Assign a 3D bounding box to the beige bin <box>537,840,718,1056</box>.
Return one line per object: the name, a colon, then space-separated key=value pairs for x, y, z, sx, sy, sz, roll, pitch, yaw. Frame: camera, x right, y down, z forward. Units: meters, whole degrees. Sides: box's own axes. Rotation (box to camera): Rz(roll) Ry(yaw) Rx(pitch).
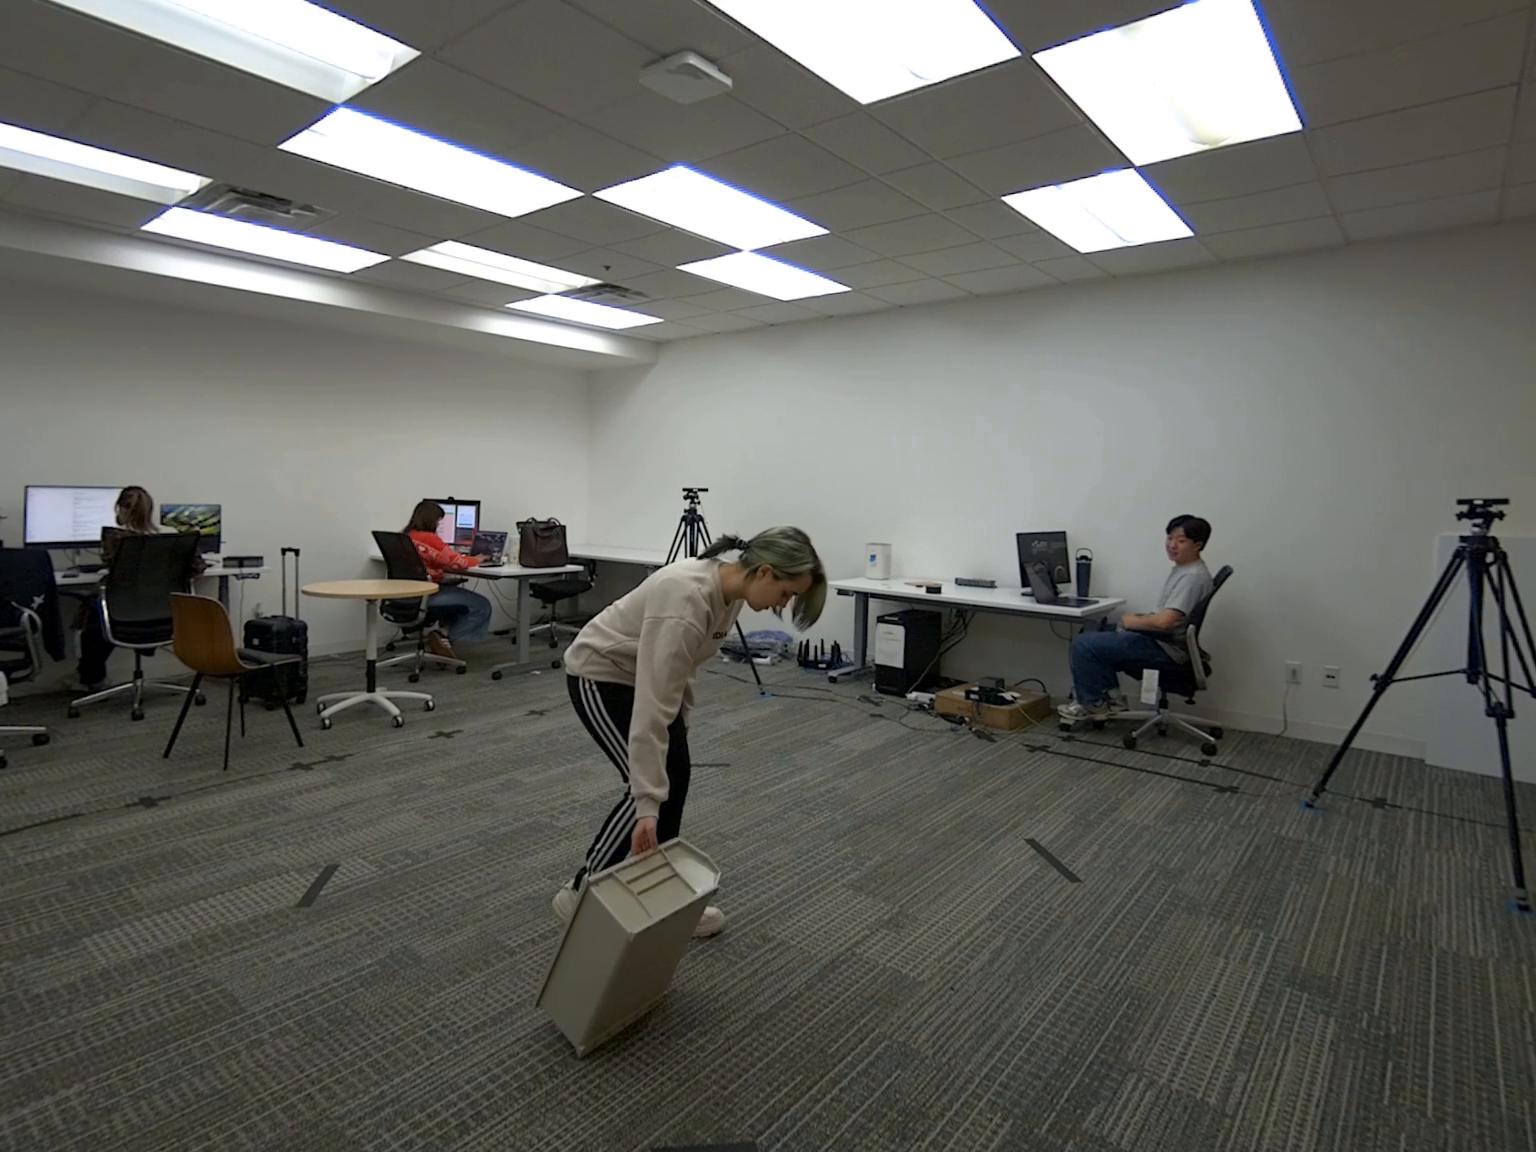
beige bin: x=-0.351 y=0.932 z=2.187 sx=0.196 sy=0.419 sz=0.367 roll=35 pitch=22 yaw=26
